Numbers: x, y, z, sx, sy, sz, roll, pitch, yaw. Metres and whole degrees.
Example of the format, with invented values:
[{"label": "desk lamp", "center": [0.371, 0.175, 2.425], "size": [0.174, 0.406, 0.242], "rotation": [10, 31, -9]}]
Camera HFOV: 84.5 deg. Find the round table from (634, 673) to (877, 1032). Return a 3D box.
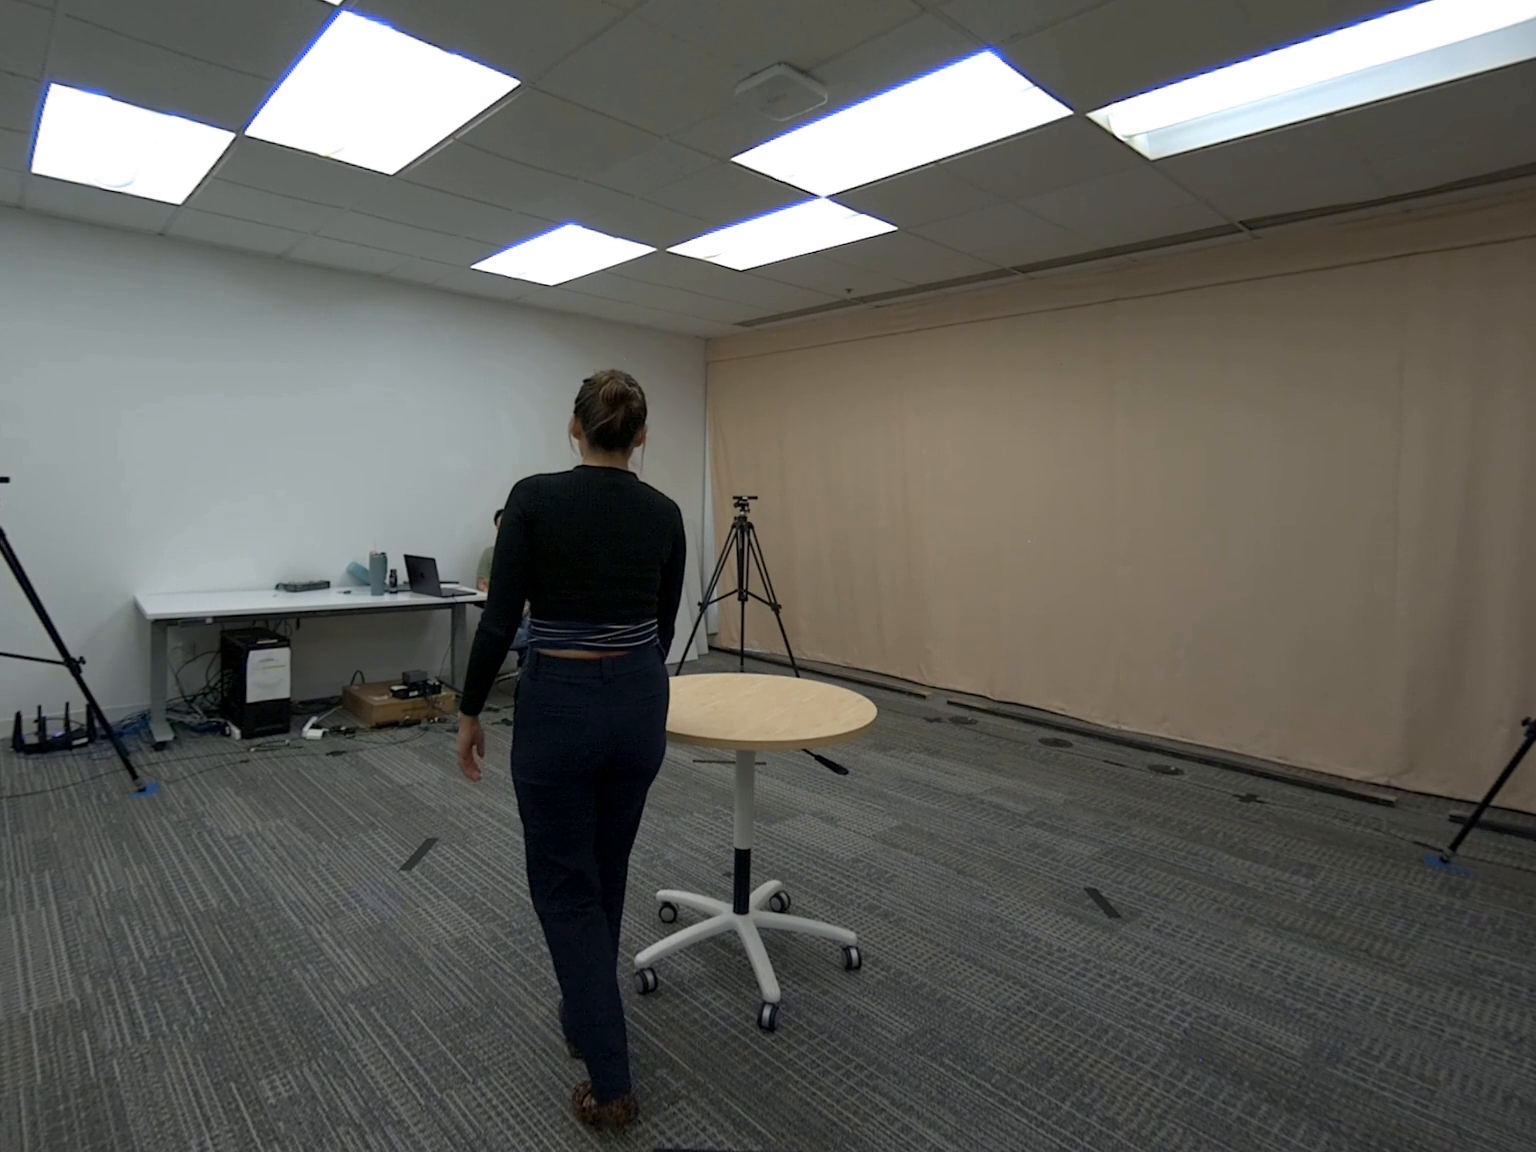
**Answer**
[{"label": "round table", "center": [-0.082, 0.768, 2.530], "size": [0.763, 0.791, 0.767], "rotation": [1, 5, -1]}]
